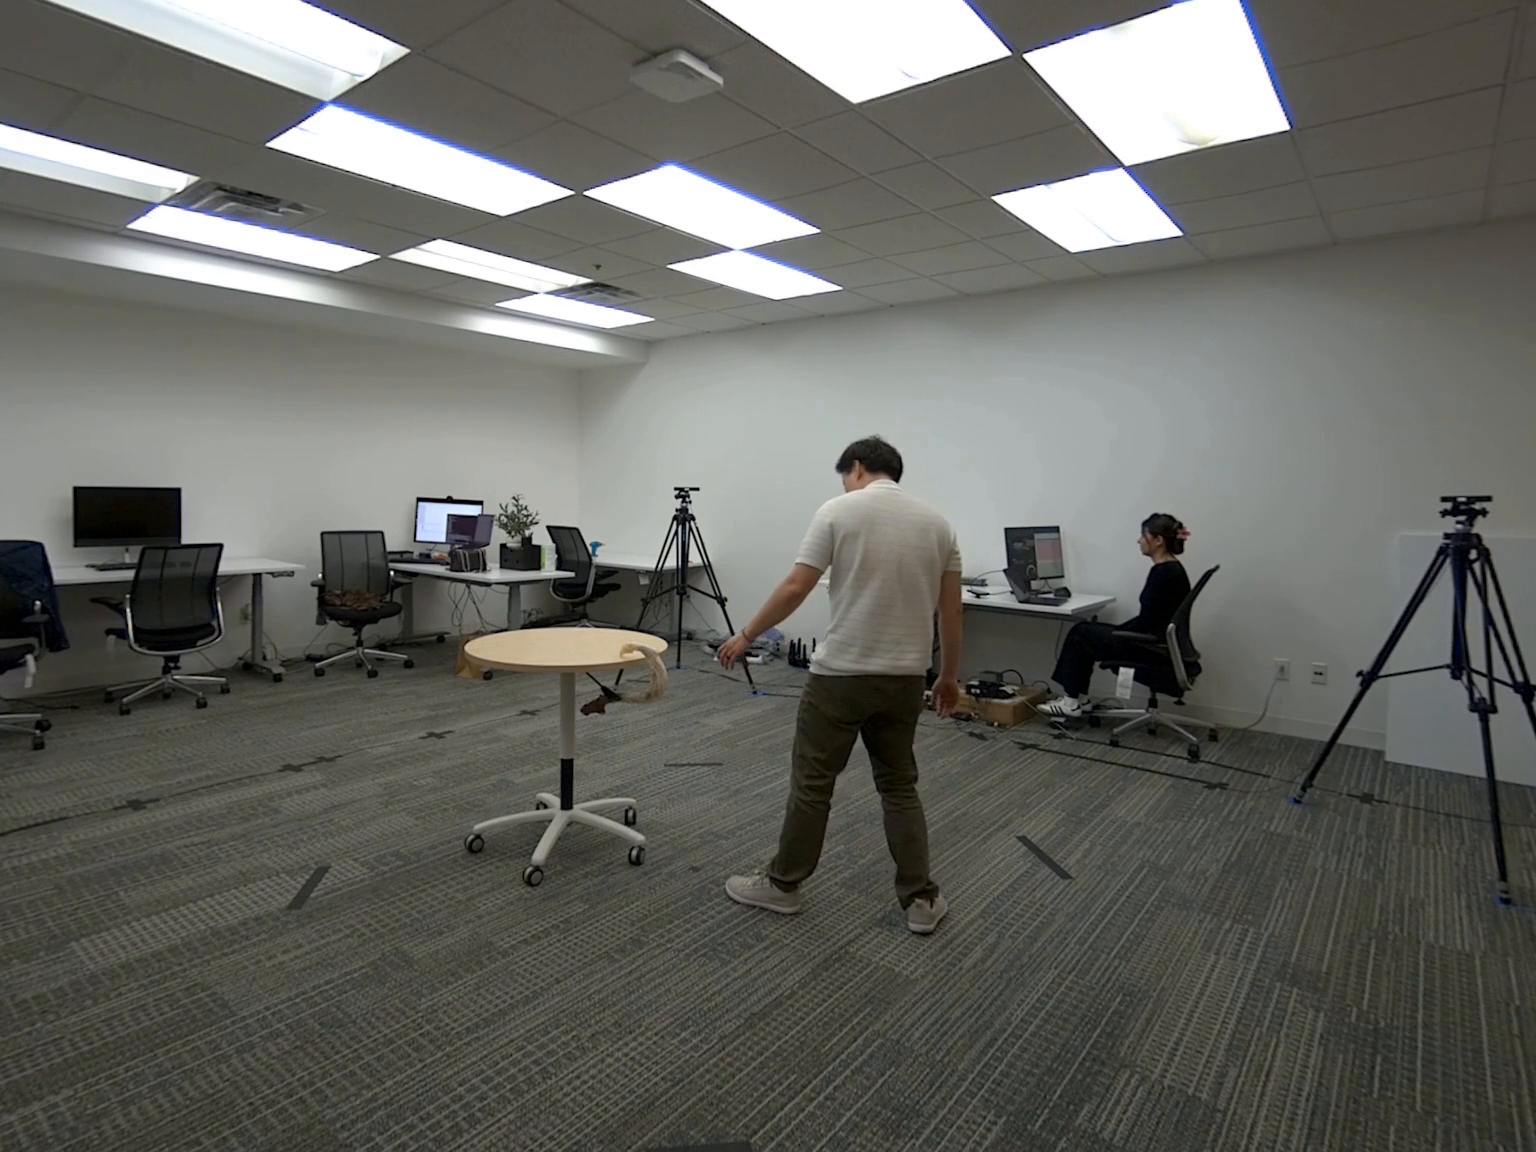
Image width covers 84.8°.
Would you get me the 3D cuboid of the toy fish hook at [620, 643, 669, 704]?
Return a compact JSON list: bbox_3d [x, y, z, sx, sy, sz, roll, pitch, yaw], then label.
[{"bbox_3d":[-0.554,0.382,3.094,0.514,0.227,0.047,-25,-11,38],"label":"toy fish hook"}]
